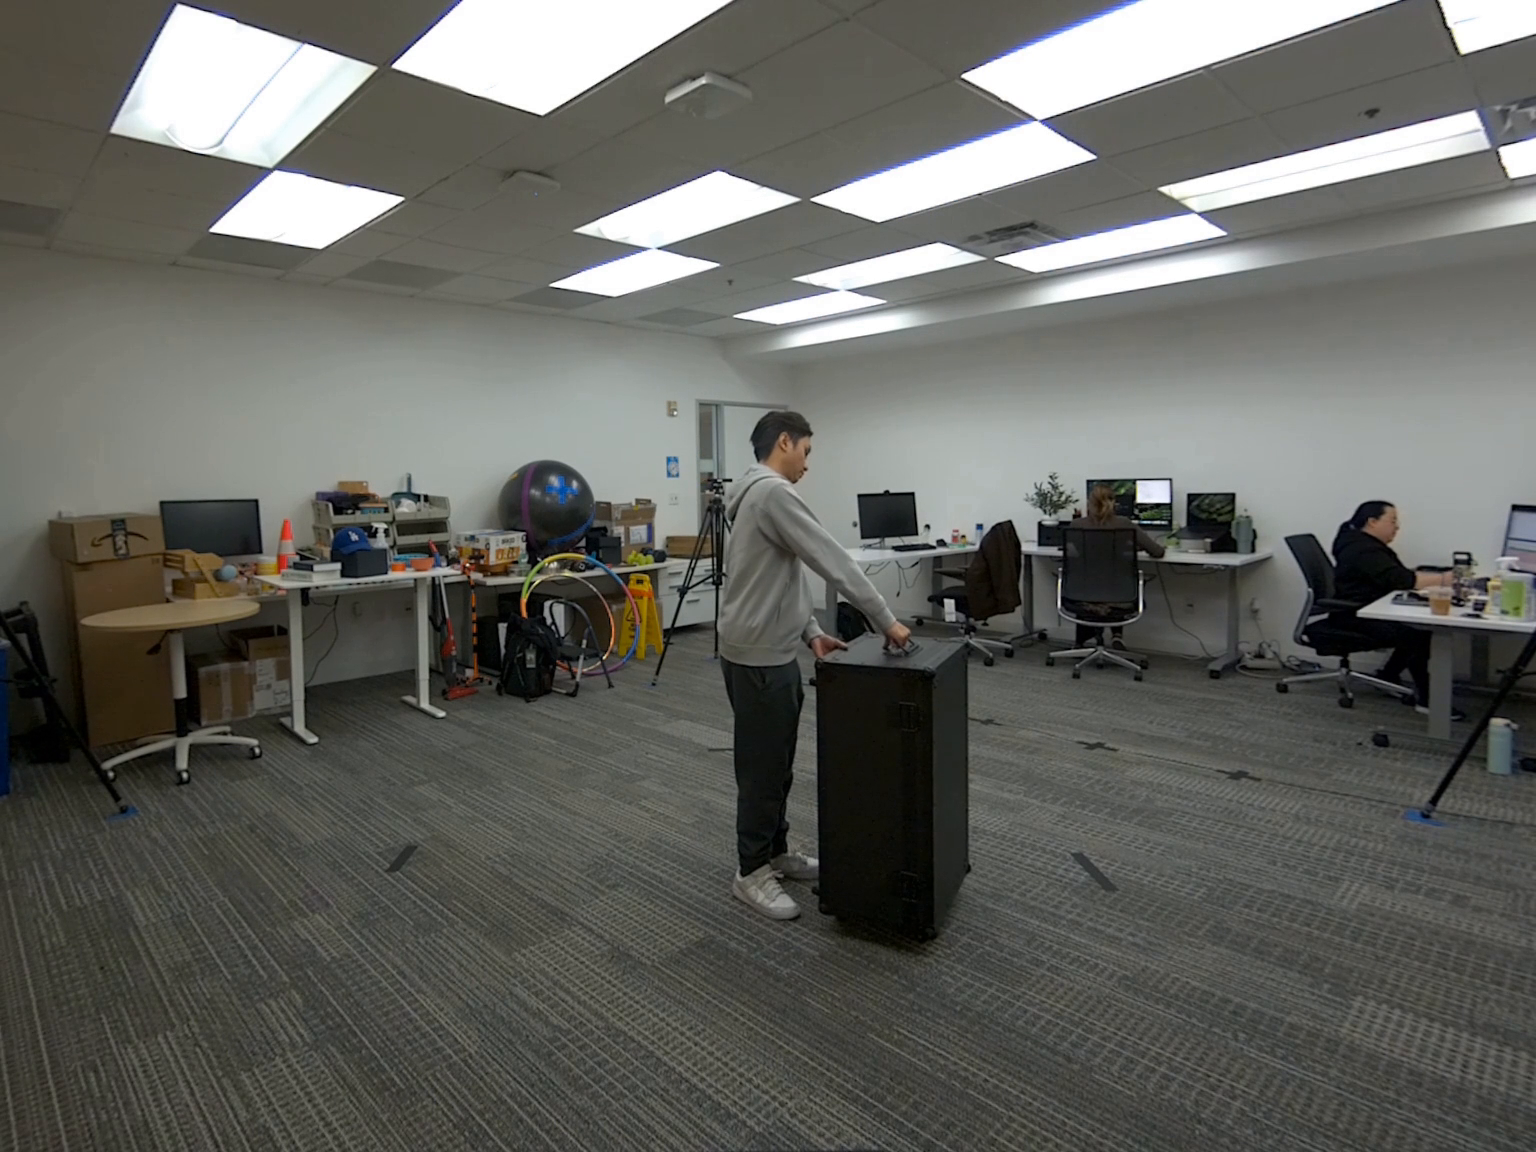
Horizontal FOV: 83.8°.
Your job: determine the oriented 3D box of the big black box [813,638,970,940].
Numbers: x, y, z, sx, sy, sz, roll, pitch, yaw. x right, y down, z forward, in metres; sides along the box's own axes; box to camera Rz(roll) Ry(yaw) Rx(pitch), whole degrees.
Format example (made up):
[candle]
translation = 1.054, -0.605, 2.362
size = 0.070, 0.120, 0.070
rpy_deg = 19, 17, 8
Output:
[big black box]
translation = 0.399, 0.653, 2.712
size = 0.405, 0.859, 0.511
rpy_deg = -1, 4, 26
